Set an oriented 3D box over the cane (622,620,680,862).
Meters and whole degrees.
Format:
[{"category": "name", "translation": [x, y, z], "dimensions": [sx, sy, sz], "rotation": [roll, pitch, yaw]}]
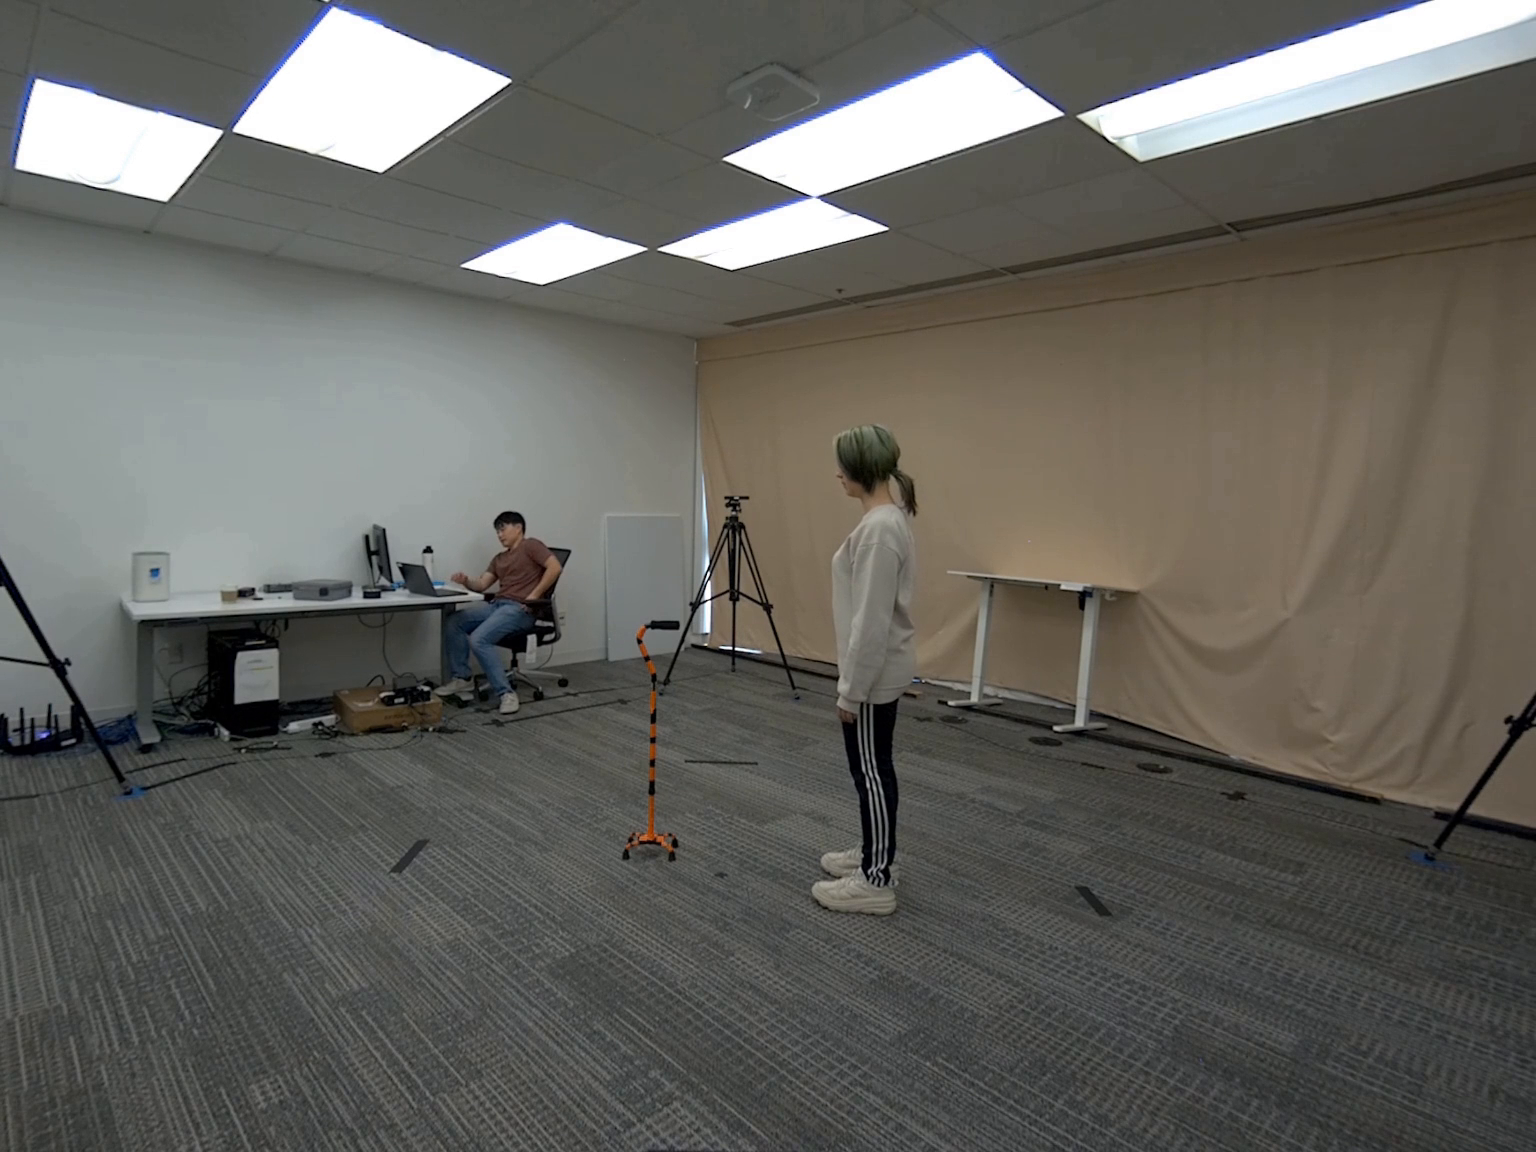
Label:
[{"category": "cane", "translation": [-0.456, 0.626, 3.257], "dimensions": [0.206, 0.906, 0.152], "rotation": [1, 3, 0]}]
